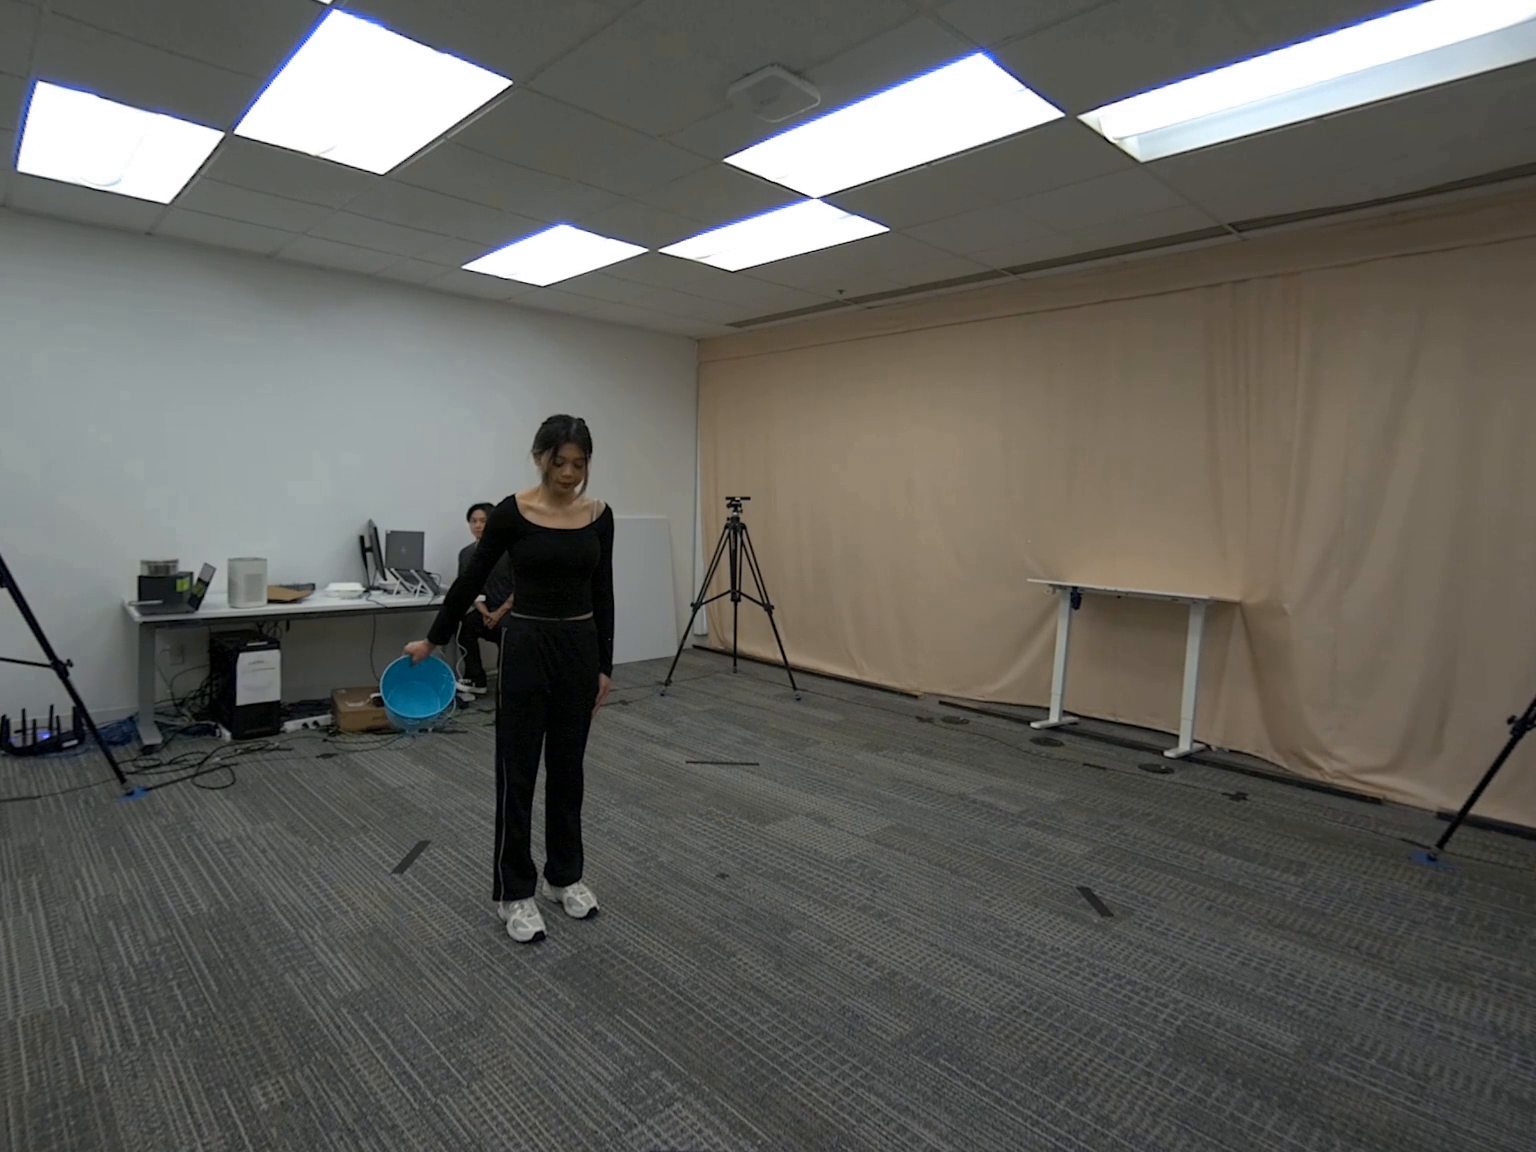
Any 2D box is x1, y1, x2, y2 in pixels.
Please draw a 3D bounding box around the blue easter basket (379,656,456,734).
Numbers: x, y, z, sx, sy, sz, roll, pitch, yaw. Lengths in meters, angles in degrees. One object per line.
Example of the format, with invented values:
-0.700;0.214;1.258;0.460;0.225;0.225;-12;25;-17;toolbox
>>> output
-1.164;0.394;2.798;0.239;0.250;0.155;-1;-34;-28;blue easter basket
